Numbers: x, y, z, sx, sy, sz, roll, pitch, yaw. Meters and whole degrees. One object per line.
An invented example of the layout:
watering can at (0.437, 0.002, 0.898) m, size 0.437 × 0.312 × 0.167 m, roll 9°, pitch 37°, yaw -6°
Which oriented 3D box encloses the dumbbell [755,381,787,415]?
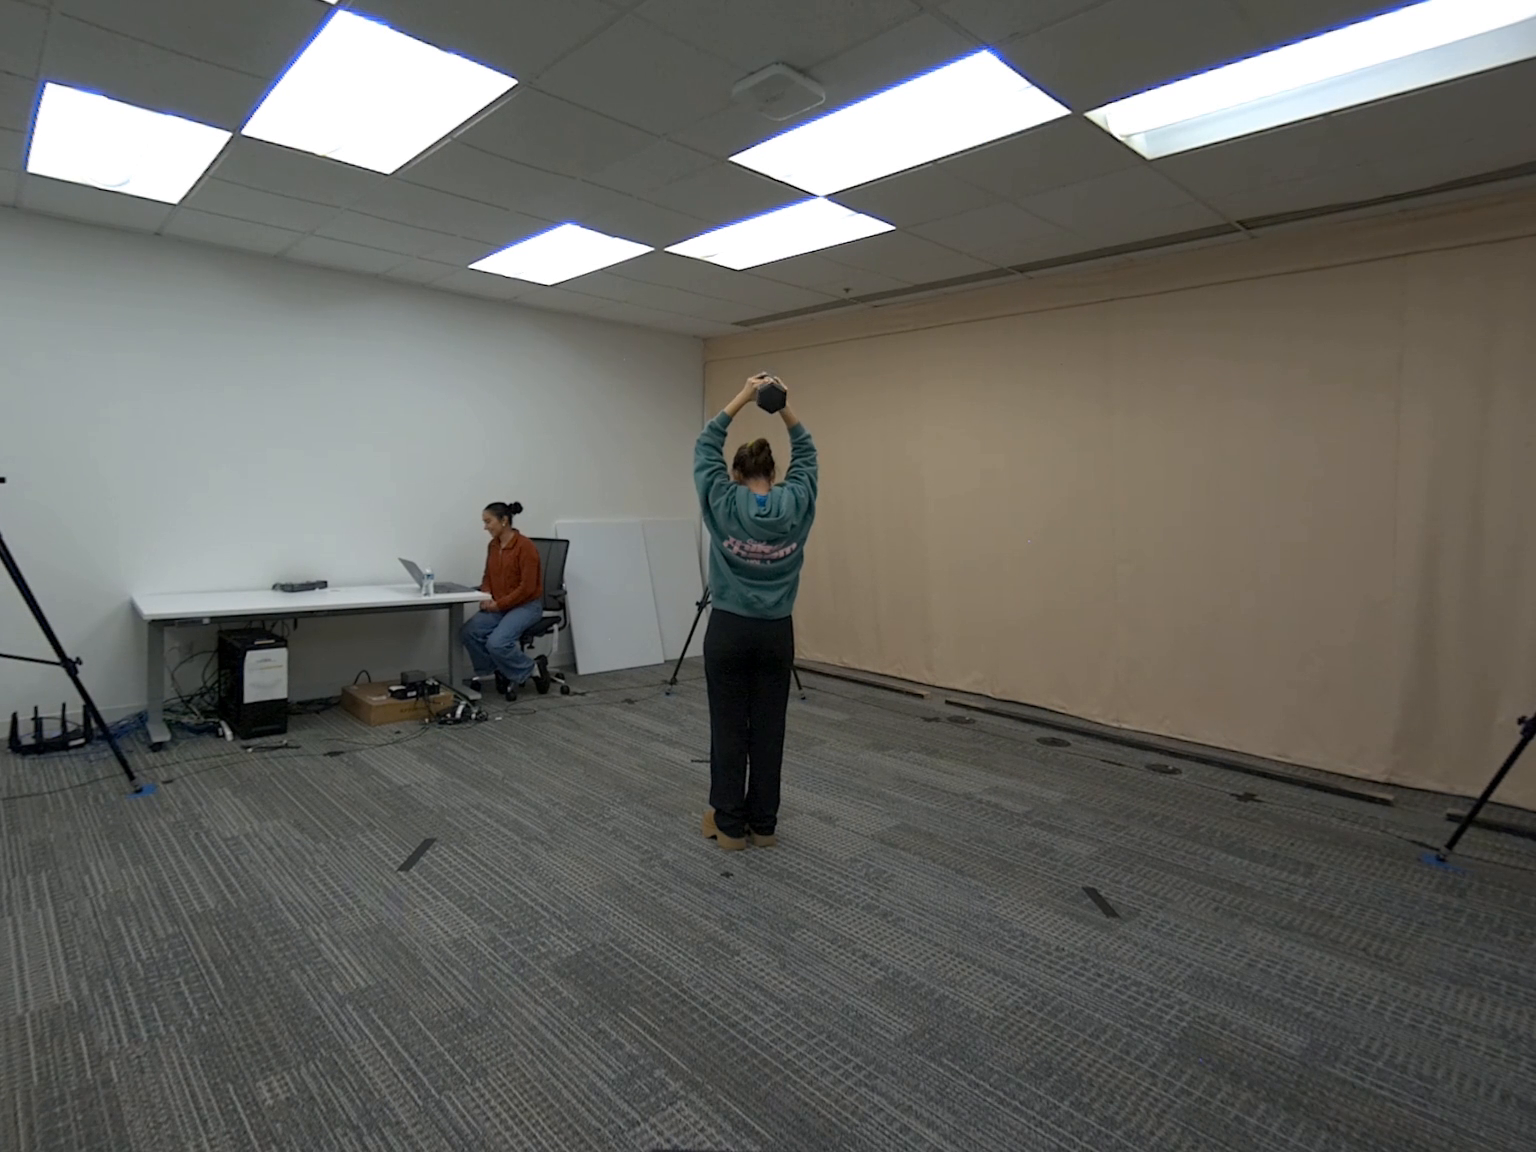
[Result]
dumbbell at (-0.012, -0.712, 3.262) m, size 0.108 × 0.121 × 0.298 m, roll 1°, pitch 21°, yaw -5°
